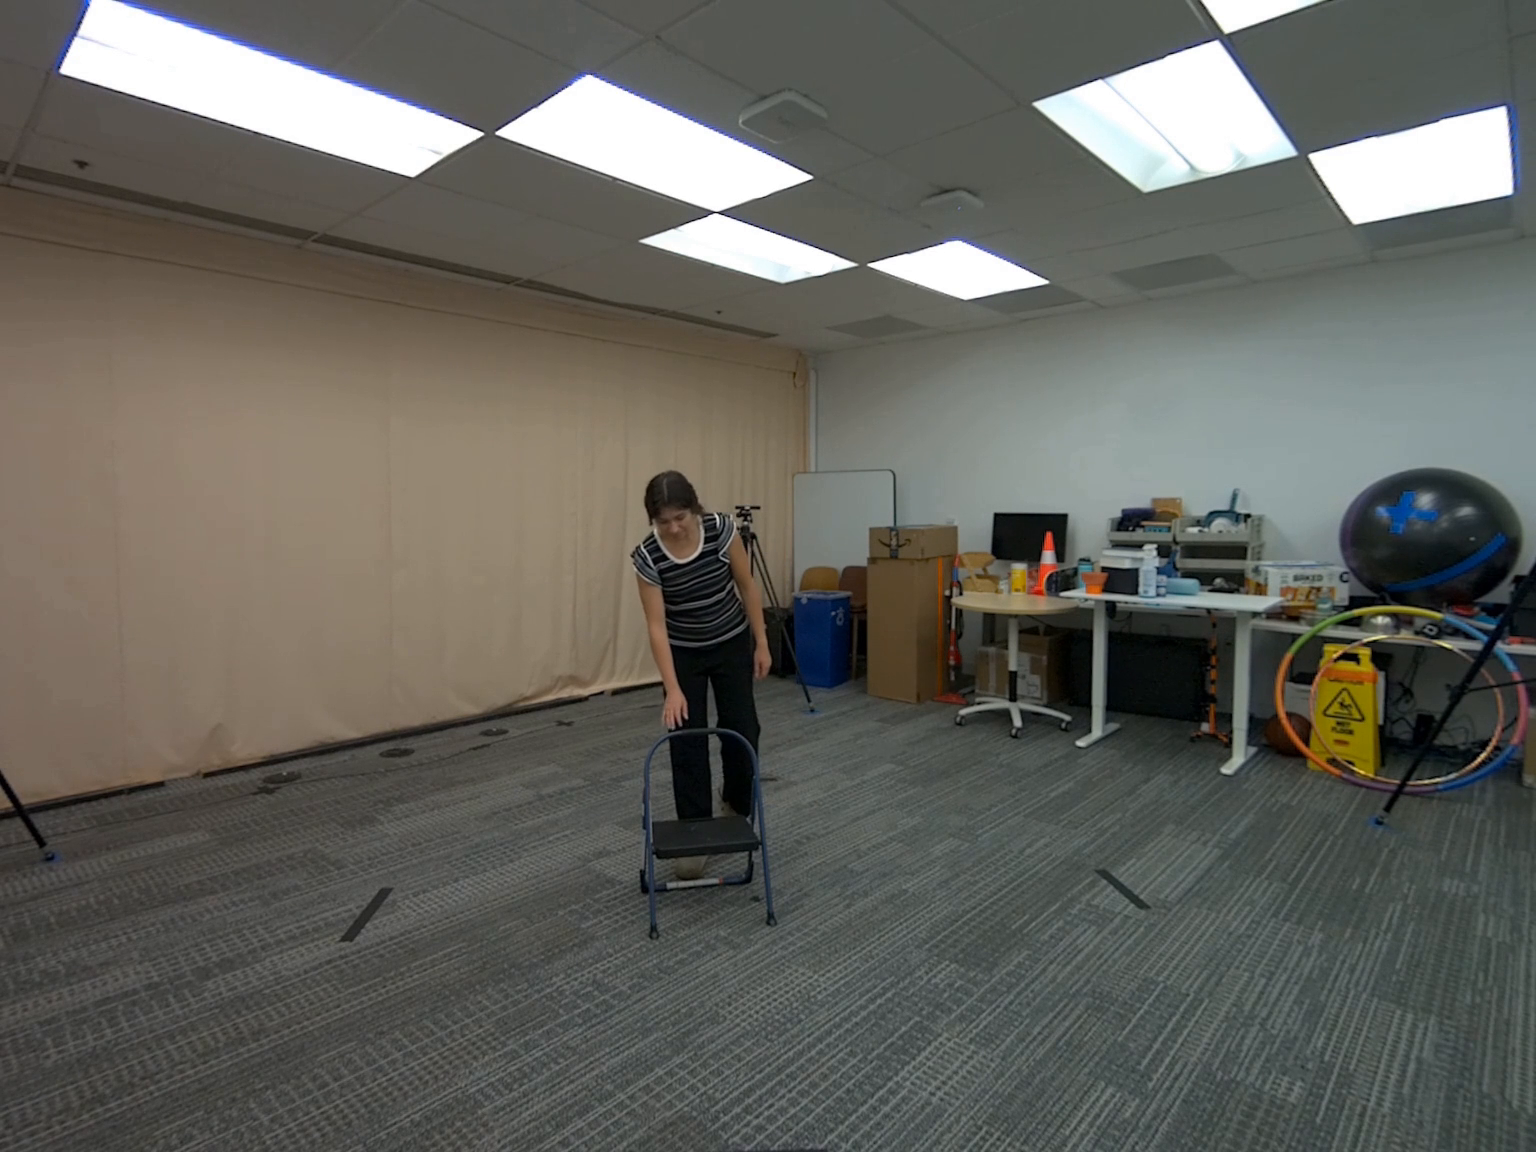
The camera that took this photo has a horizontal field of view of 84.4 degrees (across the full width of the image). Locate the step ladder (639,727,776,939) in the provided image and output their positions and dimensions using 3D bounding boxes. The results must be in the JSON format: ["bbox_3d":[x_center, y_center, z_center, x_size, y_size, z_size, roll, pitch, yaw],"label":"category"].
[{"bbox_3d":[-0.219,0.846,2.914,0.425,0.605,0.355,-1,3,-14],"label":"step ladder"}]
